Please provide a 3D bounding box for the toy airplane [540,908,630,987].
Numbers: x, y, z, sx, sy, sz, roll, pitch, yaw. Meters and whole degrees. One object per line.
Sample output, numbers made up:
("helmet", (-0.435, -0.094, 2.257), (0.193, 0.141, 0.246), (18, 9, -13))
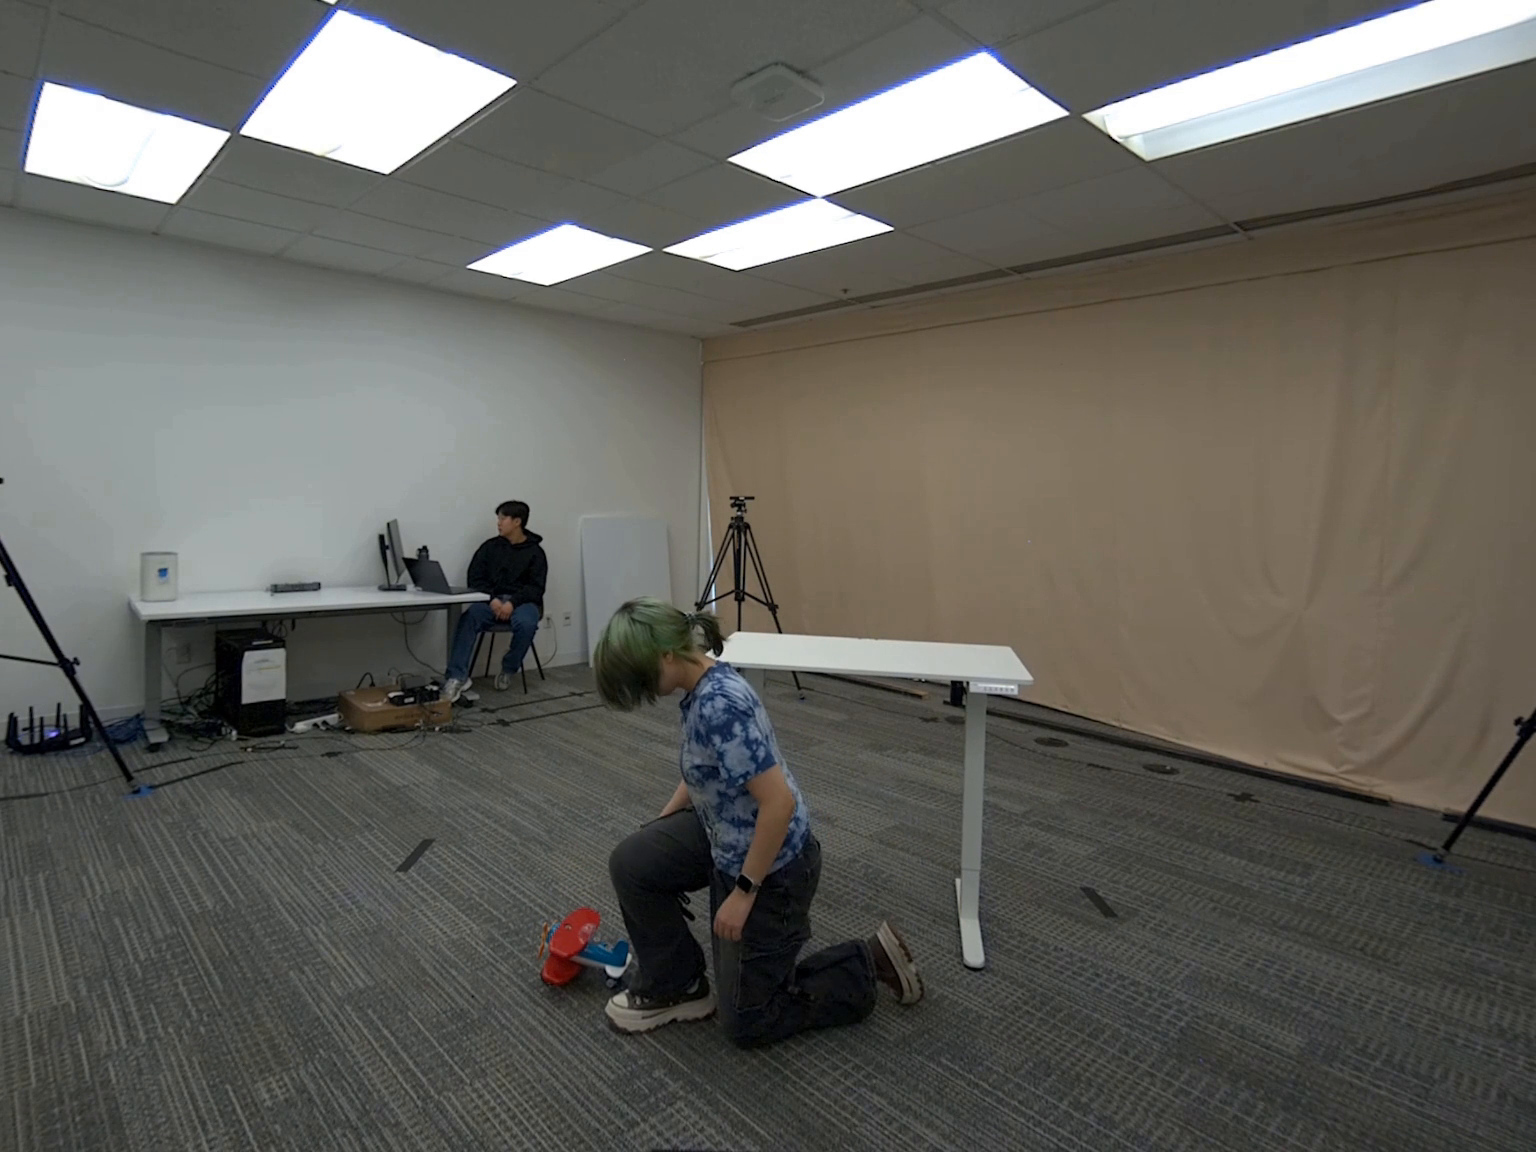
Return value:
("toy airplane", (-0.531, 1.086, 2.426), (0.256, 0.156, 0.255), (-1, 5, -18))
